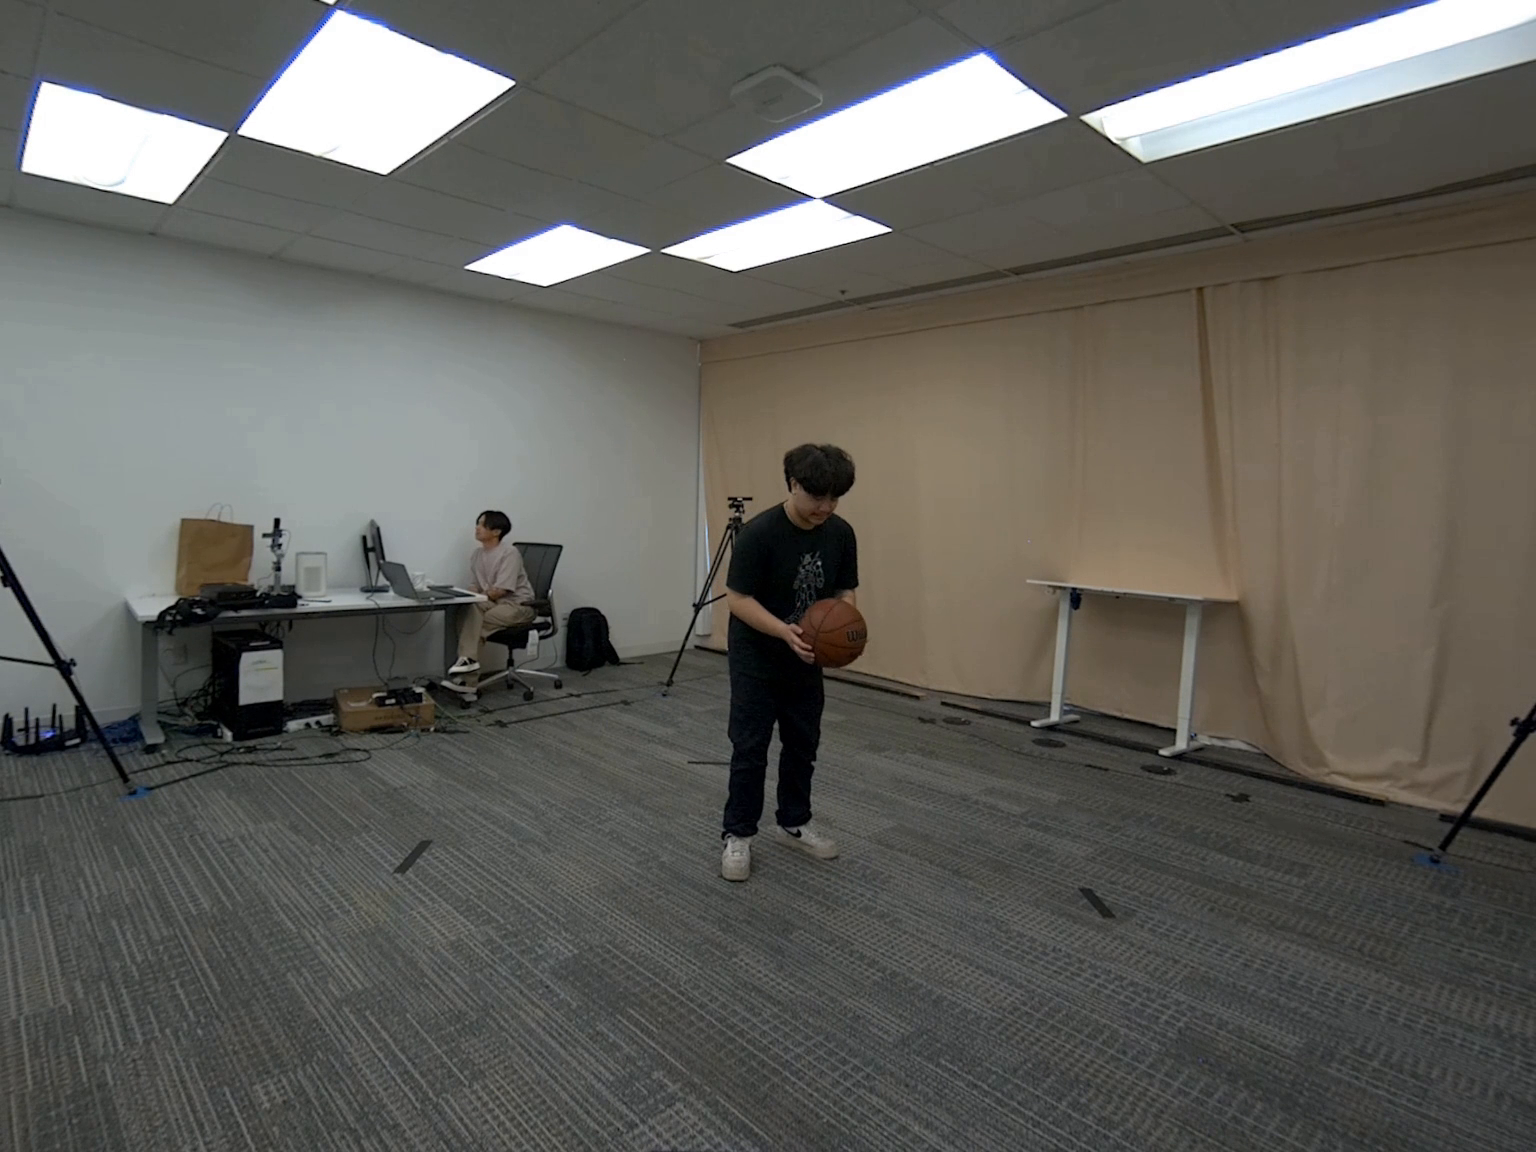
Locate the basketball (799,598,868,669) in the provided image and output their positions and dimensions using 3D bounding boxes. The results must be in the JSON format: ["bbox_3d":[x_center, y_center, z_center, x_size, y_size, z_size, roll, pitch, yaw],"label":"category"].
[{"bbox_3d":[0.209,0.205,2.888,0.236,0.235,0.237,1,4,-1],"label":"basketball"}]
